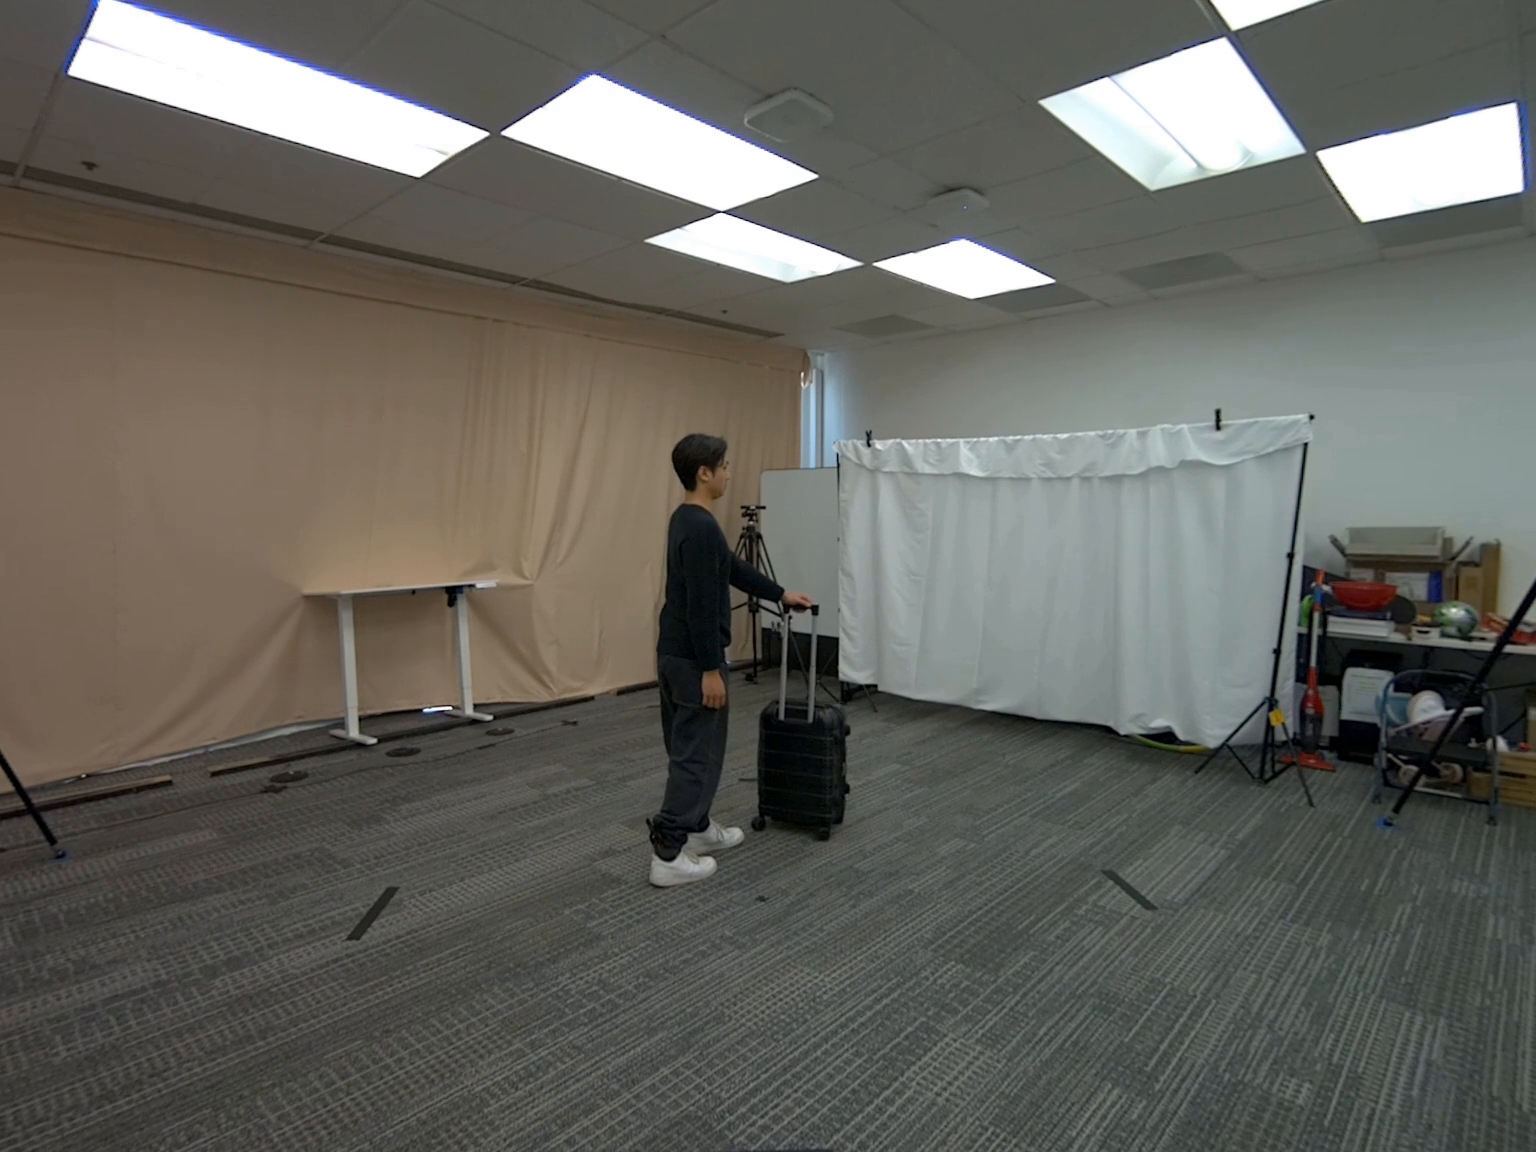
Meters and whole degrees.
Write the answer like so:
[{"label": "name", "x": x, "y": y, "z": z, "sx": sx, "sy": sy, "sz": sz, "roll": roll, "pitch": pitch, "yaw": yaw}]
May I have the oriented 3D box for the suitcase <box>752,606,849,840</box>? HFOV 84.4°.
[{"label": "suitcase", "x": 0.154, "y": 0.611, "z": 3.660, "sx": 0.393, "sy": 0.978, "sz": 0.251, "roll": 2, "pitch": 1, "yaw": 24}]
